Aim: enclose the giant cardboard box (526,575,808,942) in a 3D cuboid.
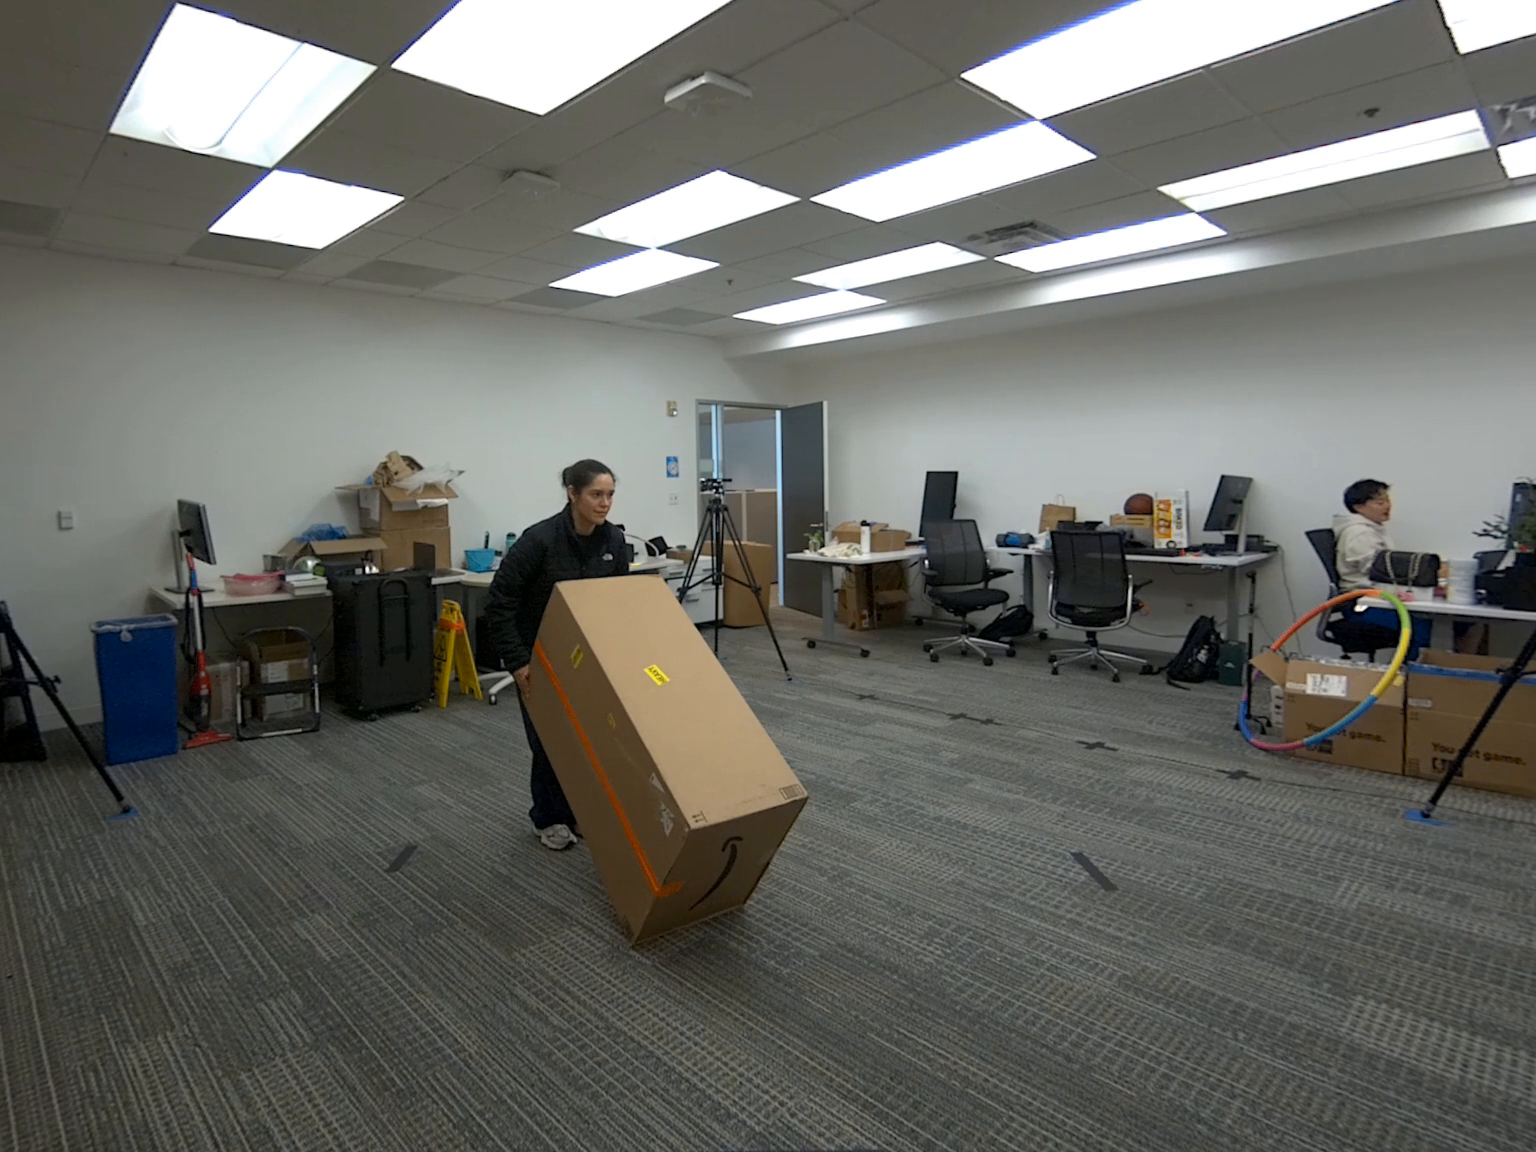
[{"bbox_3d":[-0.405,0.548,2.863,0.435,0.576,1.067,-5,42,-37],"label":"giant cardboard box"}]
